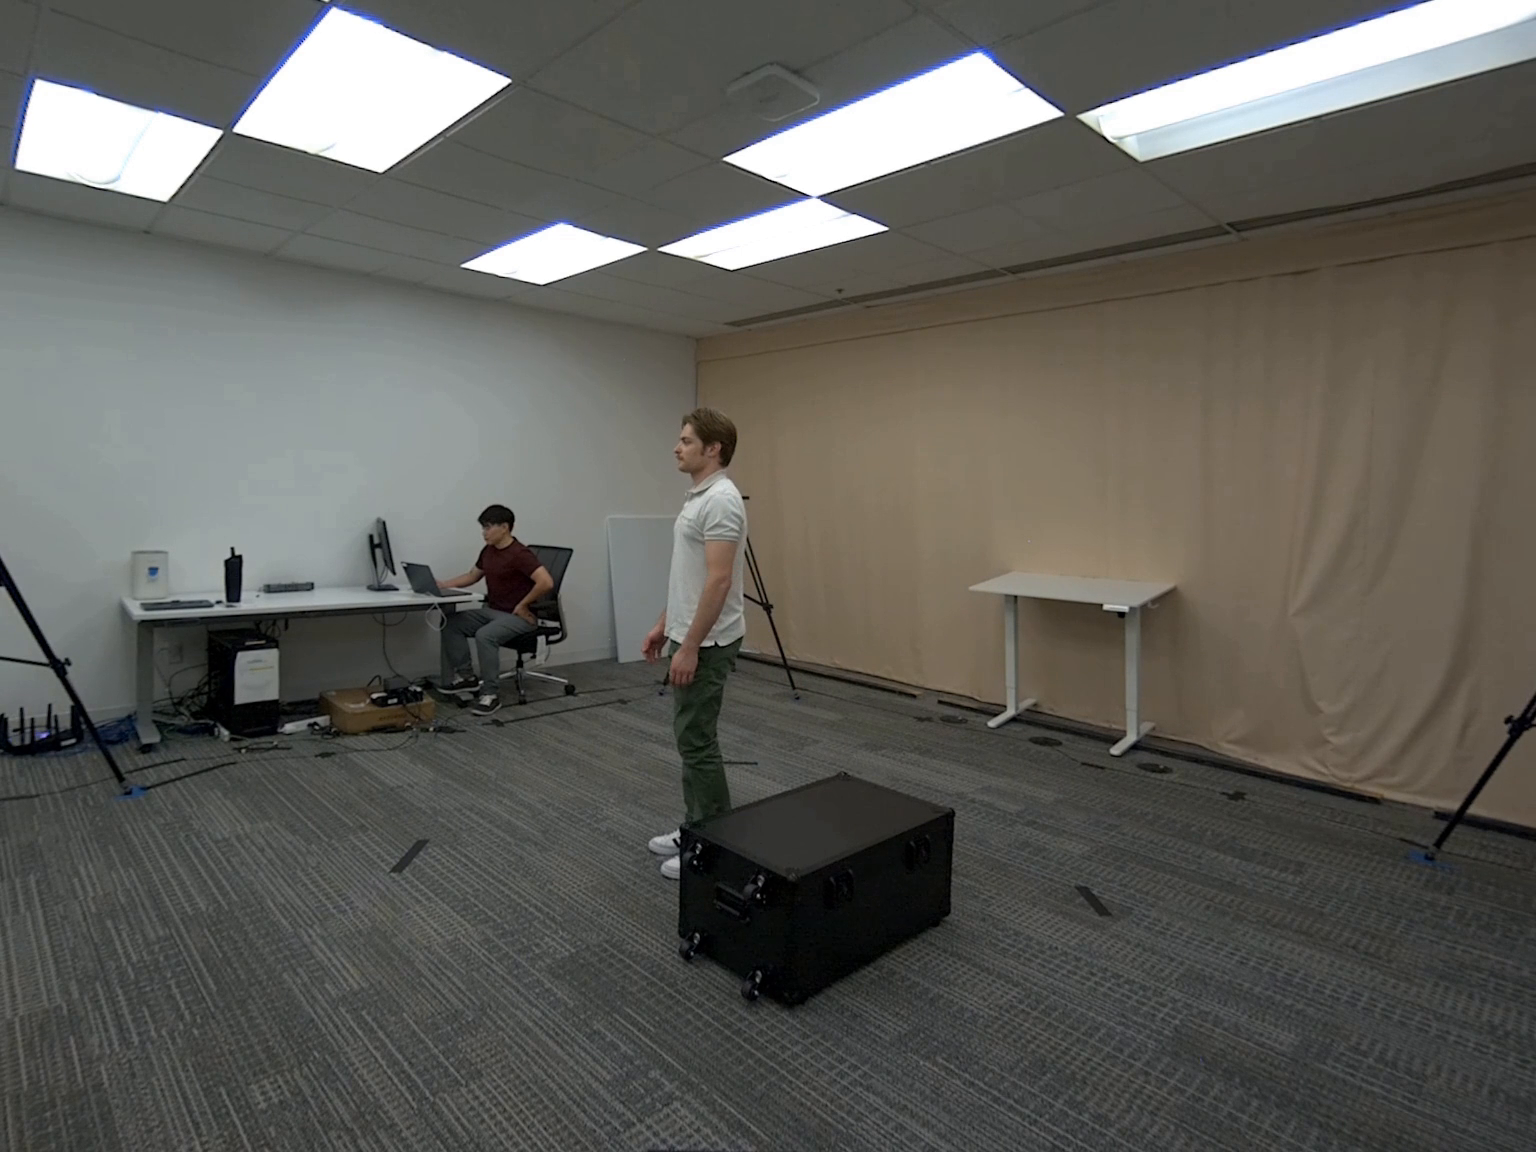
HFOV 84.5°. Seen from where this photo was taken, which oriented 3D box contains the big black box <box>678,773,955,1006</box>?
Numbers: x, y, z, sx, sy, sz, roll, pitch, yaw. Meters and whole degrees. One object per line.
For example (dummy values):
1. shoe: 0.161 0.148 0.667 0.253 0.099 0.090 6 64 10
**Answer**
1. big black box: 0.134 0.955 2.679 0.849 0.384 0.537 -4 8 -43
